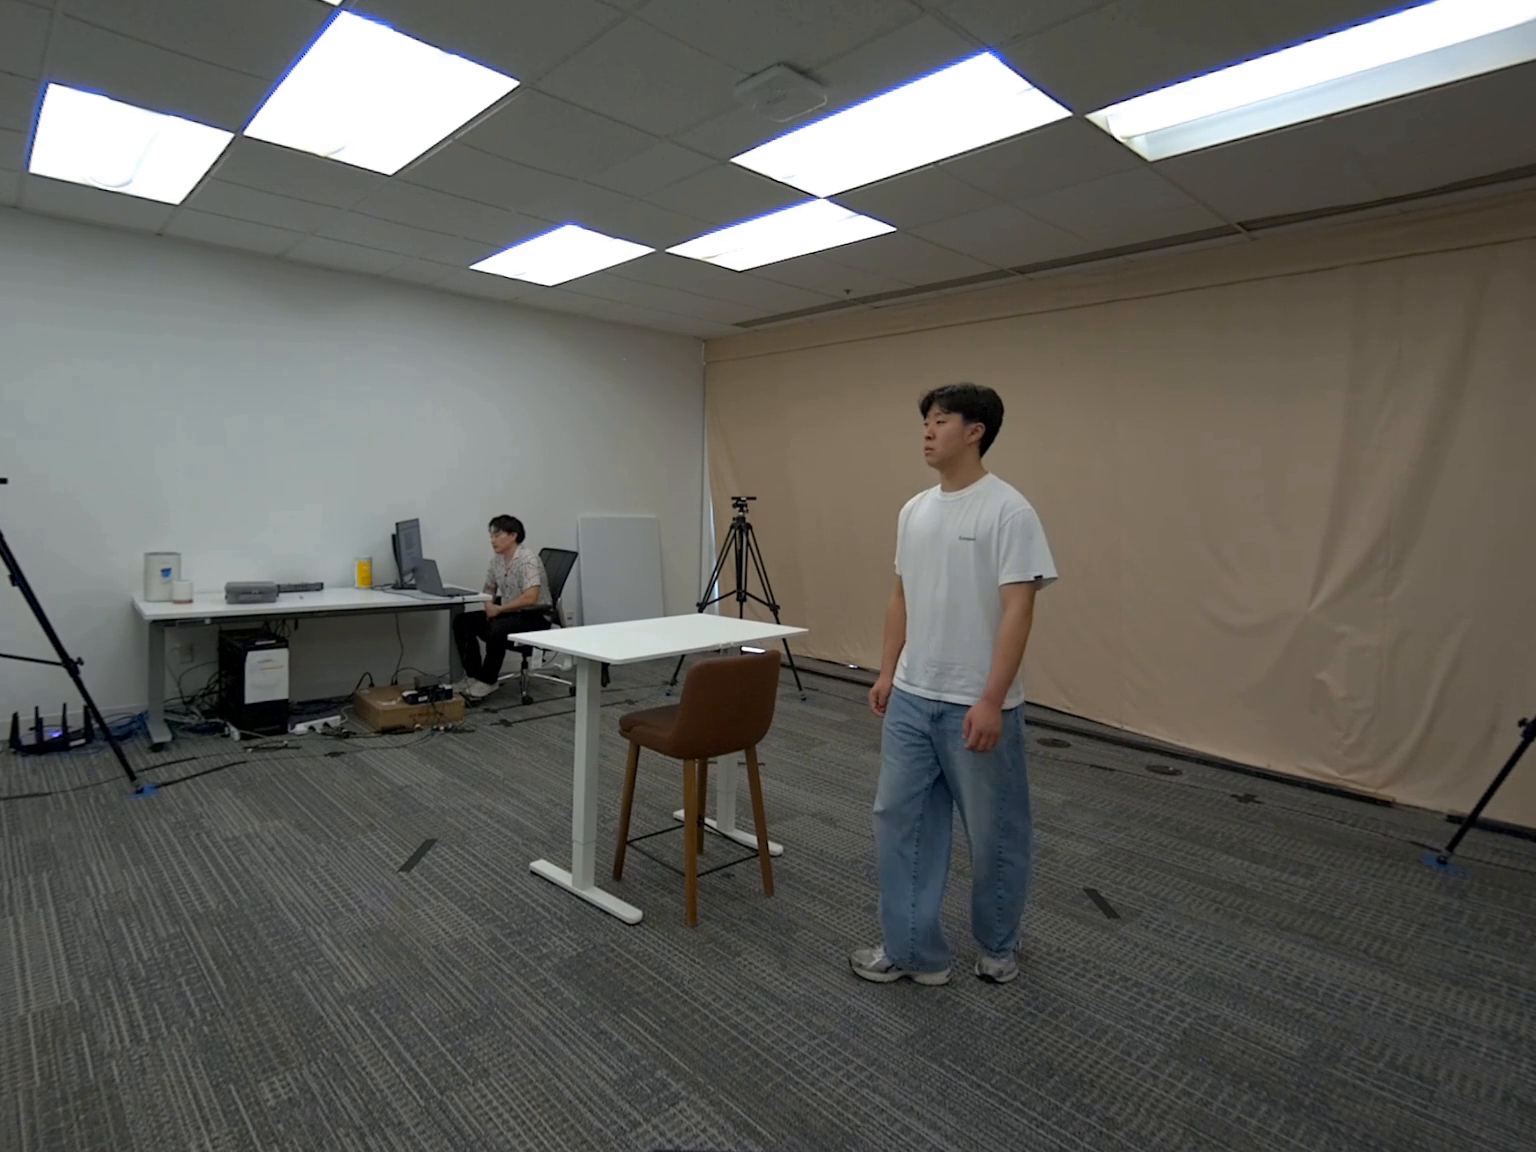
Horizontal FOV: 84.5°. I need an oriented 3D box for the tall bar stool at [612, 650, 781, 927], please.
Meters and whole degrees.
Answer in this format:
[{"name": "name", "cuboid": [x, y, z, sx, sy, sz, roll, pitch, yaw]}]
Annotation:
[{"name": "tall bar stool", "cuboid": [-0.253, 0.680, 2.977, 0.446, 0.886, 0.480, -2, 7, -41]}]
